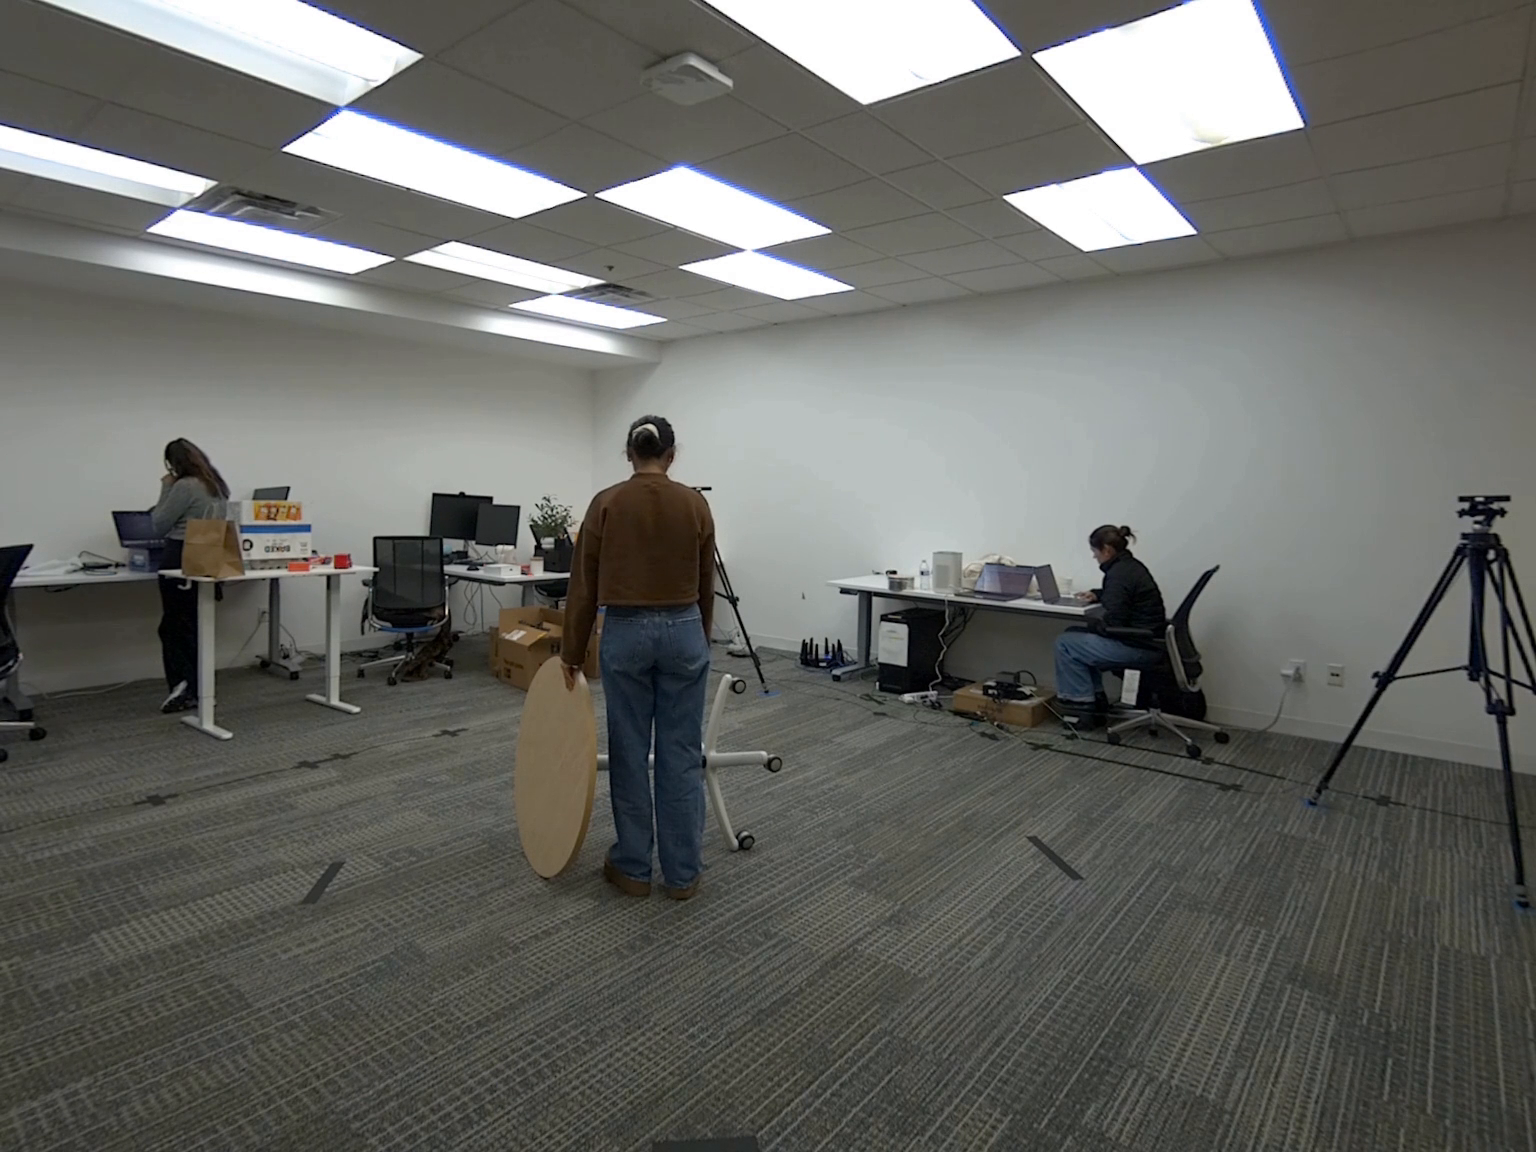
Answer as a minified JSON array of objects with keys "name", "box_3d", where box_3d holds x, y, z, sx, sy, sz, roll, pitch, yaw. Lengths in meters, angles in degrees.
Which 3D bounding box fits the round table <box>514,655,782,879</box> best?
[{"name":"round table","box_3d":[-0.482,0.712,3.278,0.769,0.764,0.788,7,0,-32]}]
